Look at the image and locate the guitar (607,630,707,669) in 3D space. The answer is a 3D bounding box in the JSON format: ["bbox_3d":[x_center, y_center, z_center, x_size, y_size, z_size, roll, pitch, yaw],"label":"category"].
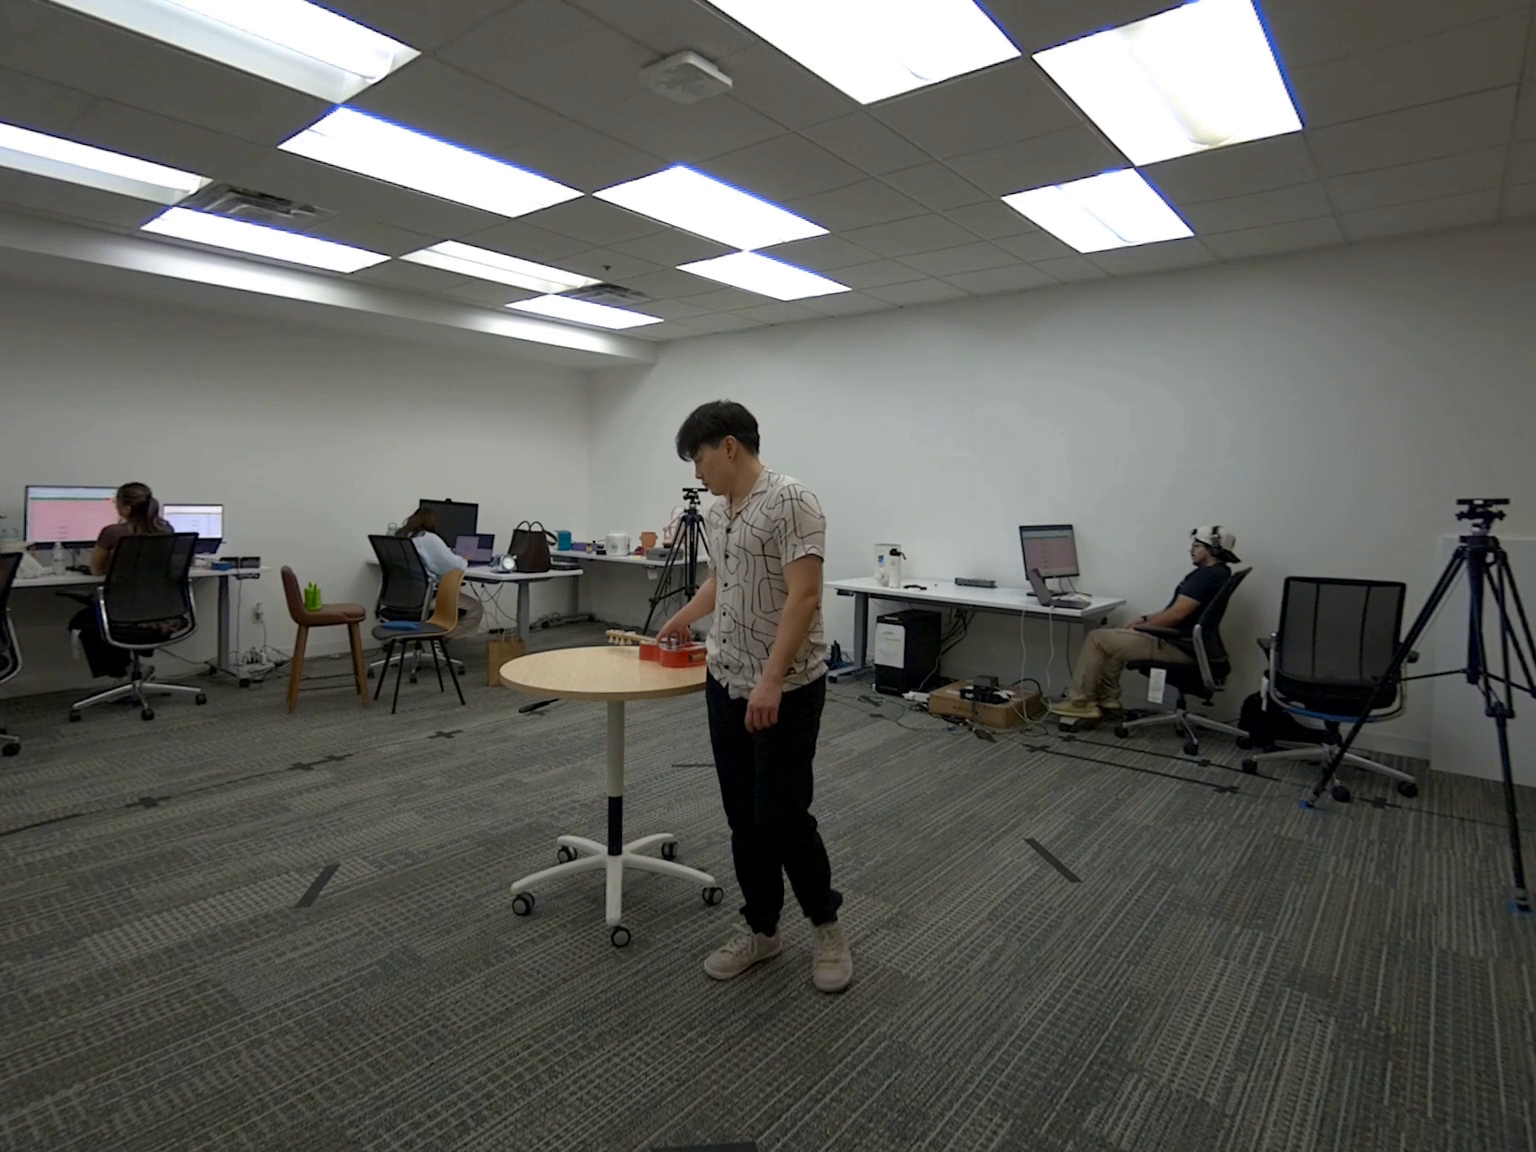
[{"bbox_3d":[-0.410,0.256,3.078,0.187,0.070,0.514,-3,7,-36],"label":"guitar"}]
